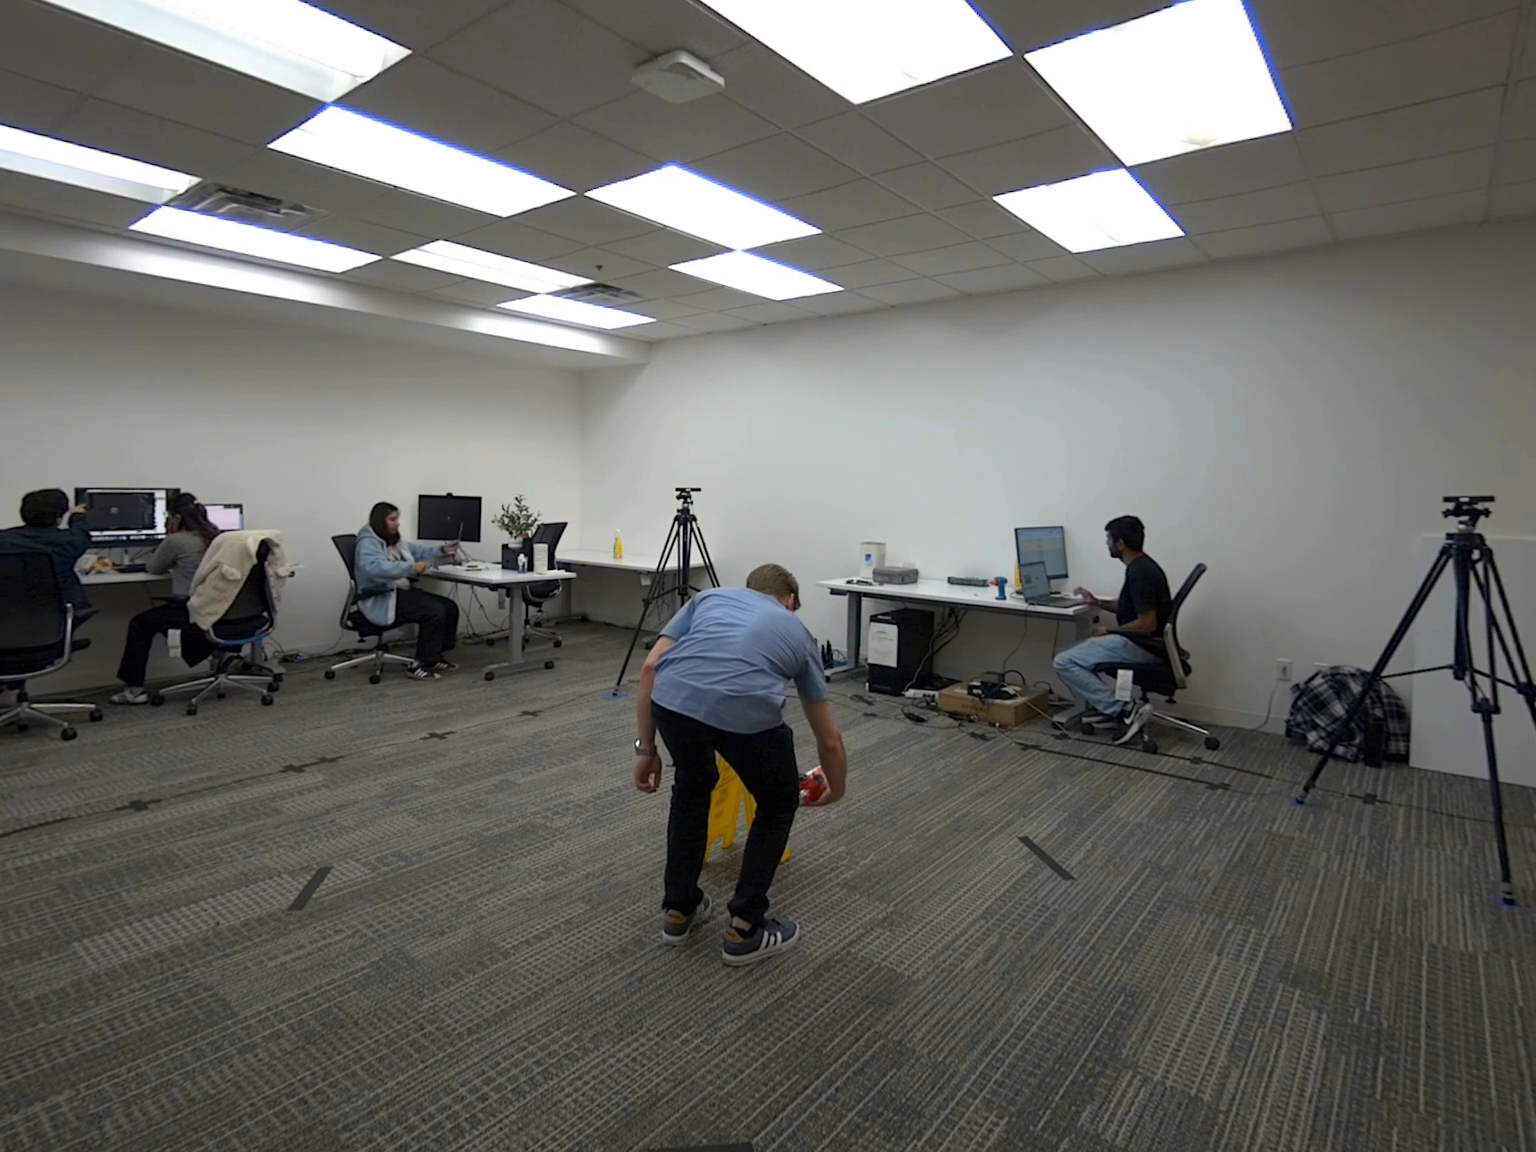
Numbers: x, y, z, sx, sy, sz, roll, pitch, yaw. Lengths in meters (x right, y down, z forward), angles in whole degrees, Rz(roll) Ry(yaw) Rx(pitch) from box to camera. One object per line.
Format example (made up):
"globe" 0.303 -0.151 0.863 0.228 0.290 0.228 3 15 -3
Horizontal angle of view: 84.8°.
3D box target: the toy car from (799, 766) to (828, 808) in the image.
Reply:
"toy car" 0.146 0.748 2.994 0.086 0.127 0.251 21 31 29
